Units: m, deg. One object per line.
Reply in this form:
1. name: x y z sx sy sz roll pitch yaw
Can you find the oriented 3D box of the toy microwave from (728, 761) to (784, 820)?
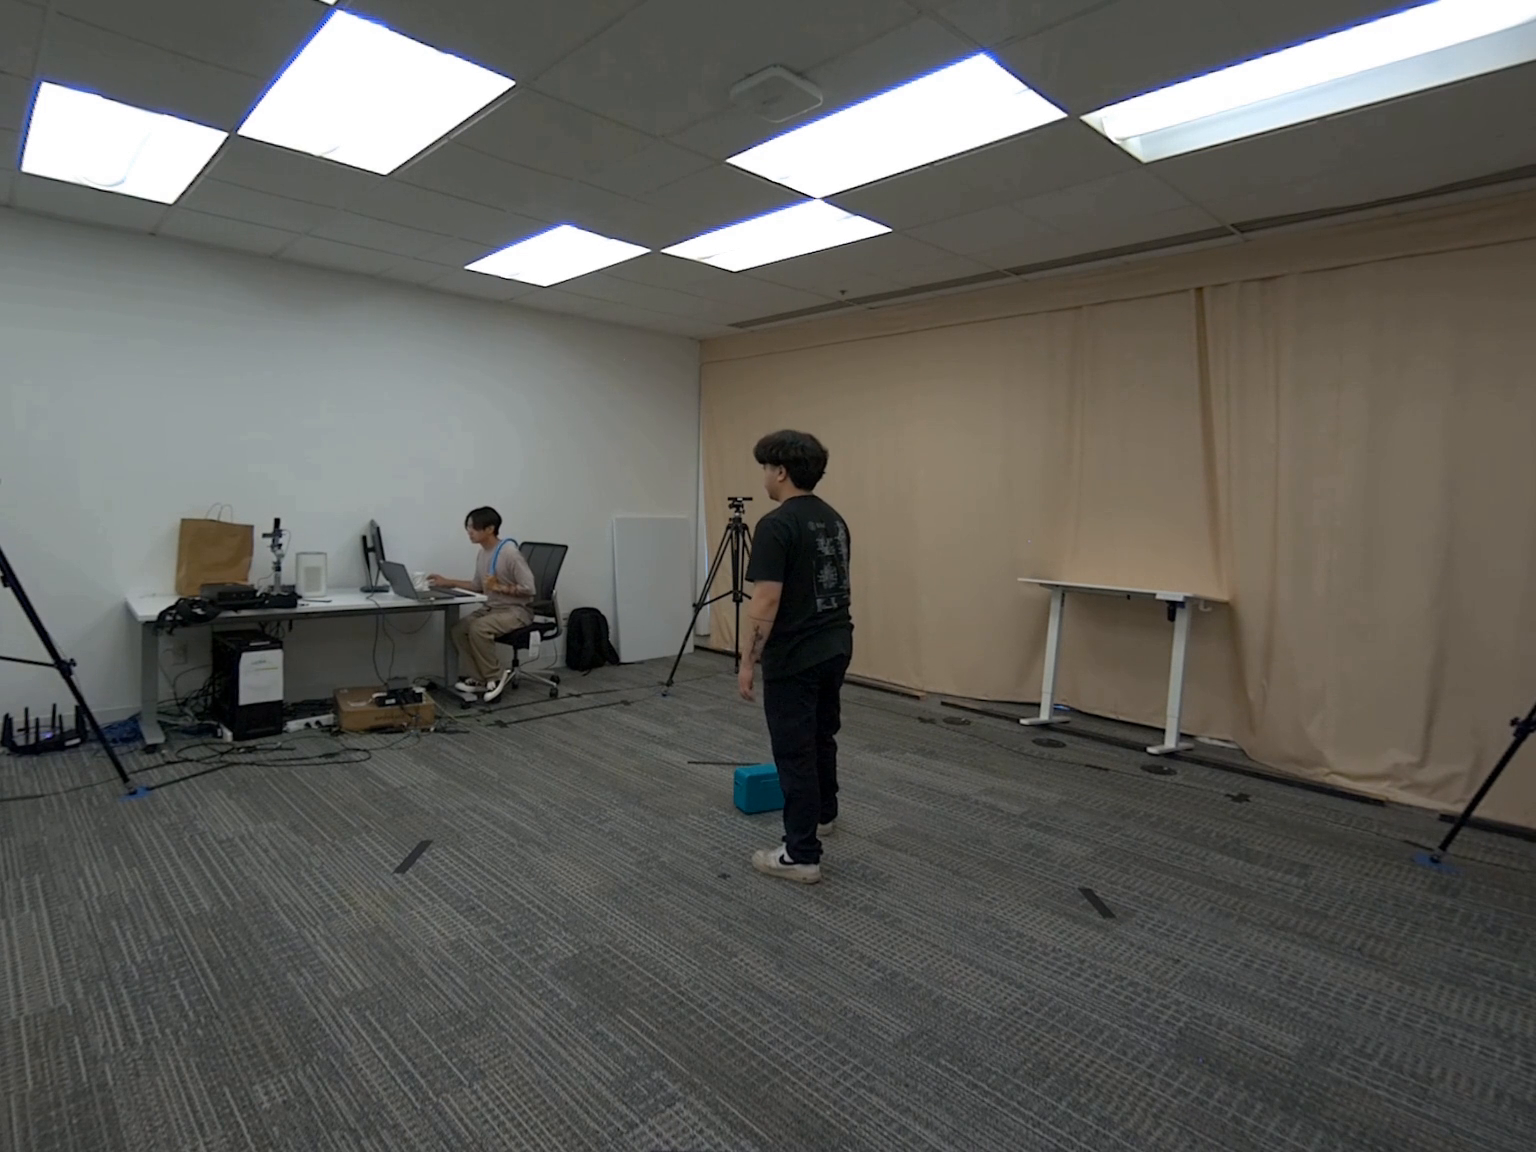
1. toy microwave: -0.016 0.961 3.828 0.281 0.184 0.155 -1 4 -27
